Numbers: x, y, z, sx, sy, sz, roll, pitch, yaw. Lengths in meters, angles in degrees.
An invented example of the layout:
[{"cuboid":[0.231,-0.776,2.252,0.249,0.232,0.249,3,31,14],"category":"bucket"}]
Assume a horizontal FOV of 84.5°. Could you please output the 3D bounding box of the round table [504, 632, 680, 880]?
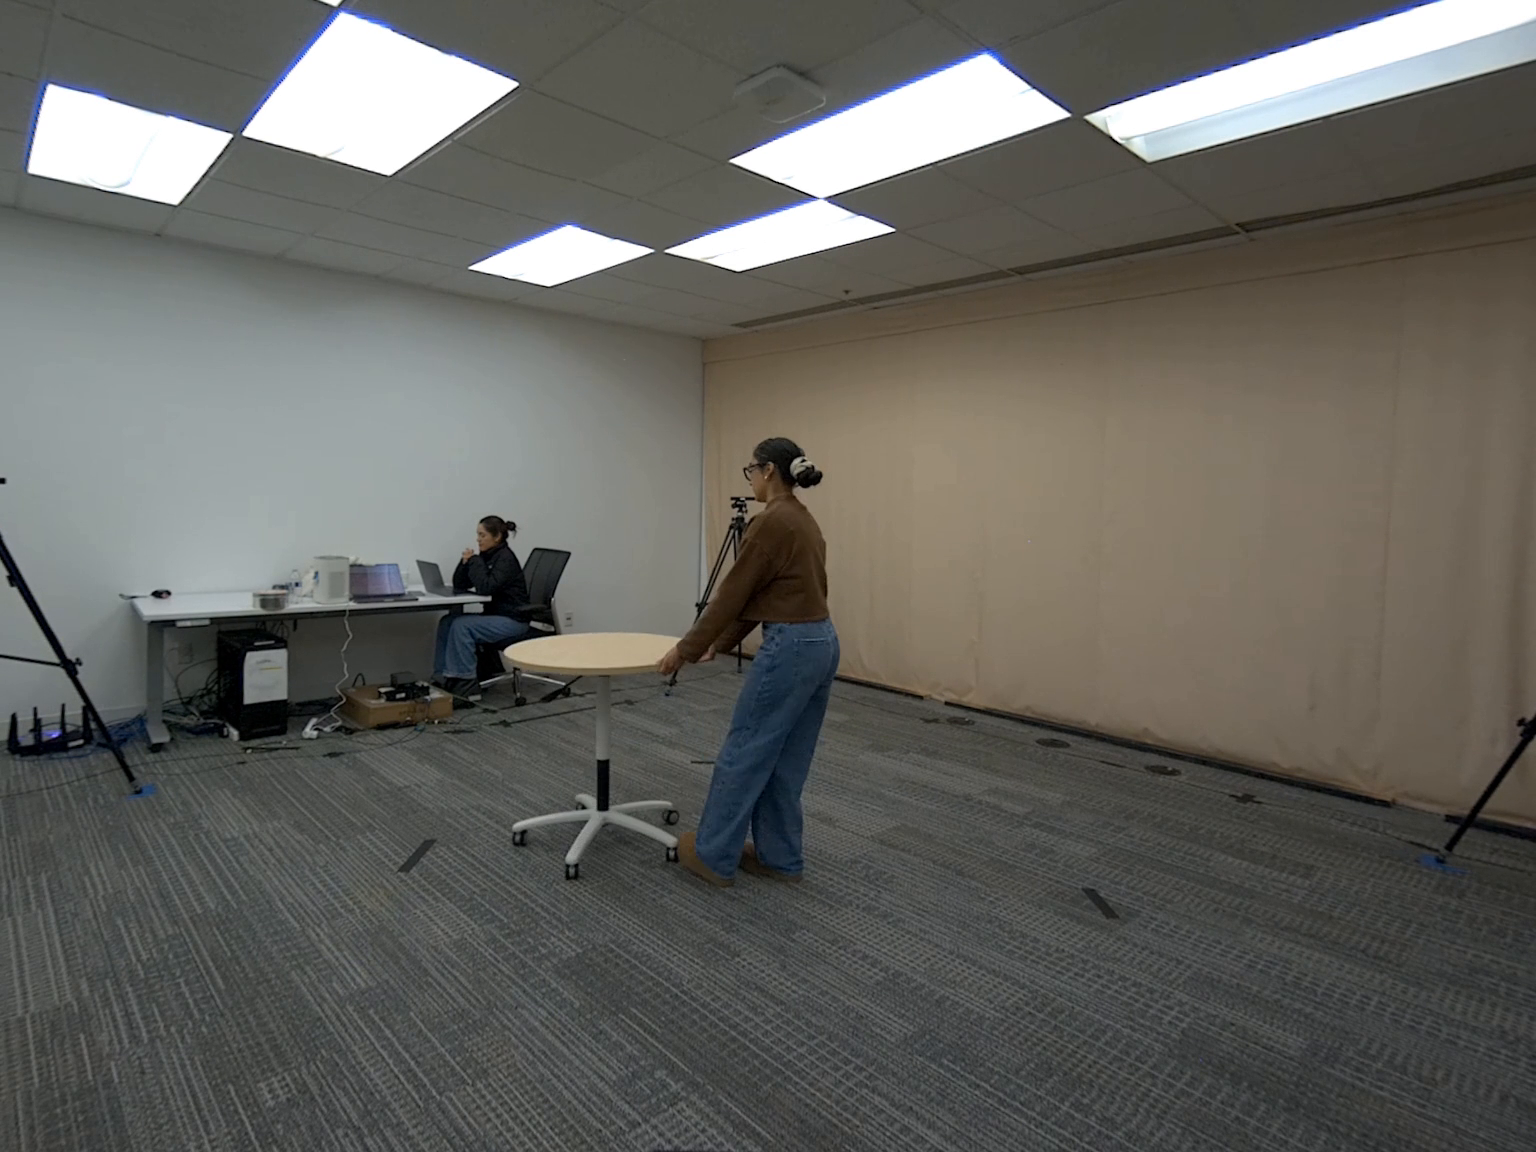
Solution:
[{"cuboid":[-0.628,0.675,3.347,0.784,0.784,0.788,1,4,-1],"category":"round table"}]
